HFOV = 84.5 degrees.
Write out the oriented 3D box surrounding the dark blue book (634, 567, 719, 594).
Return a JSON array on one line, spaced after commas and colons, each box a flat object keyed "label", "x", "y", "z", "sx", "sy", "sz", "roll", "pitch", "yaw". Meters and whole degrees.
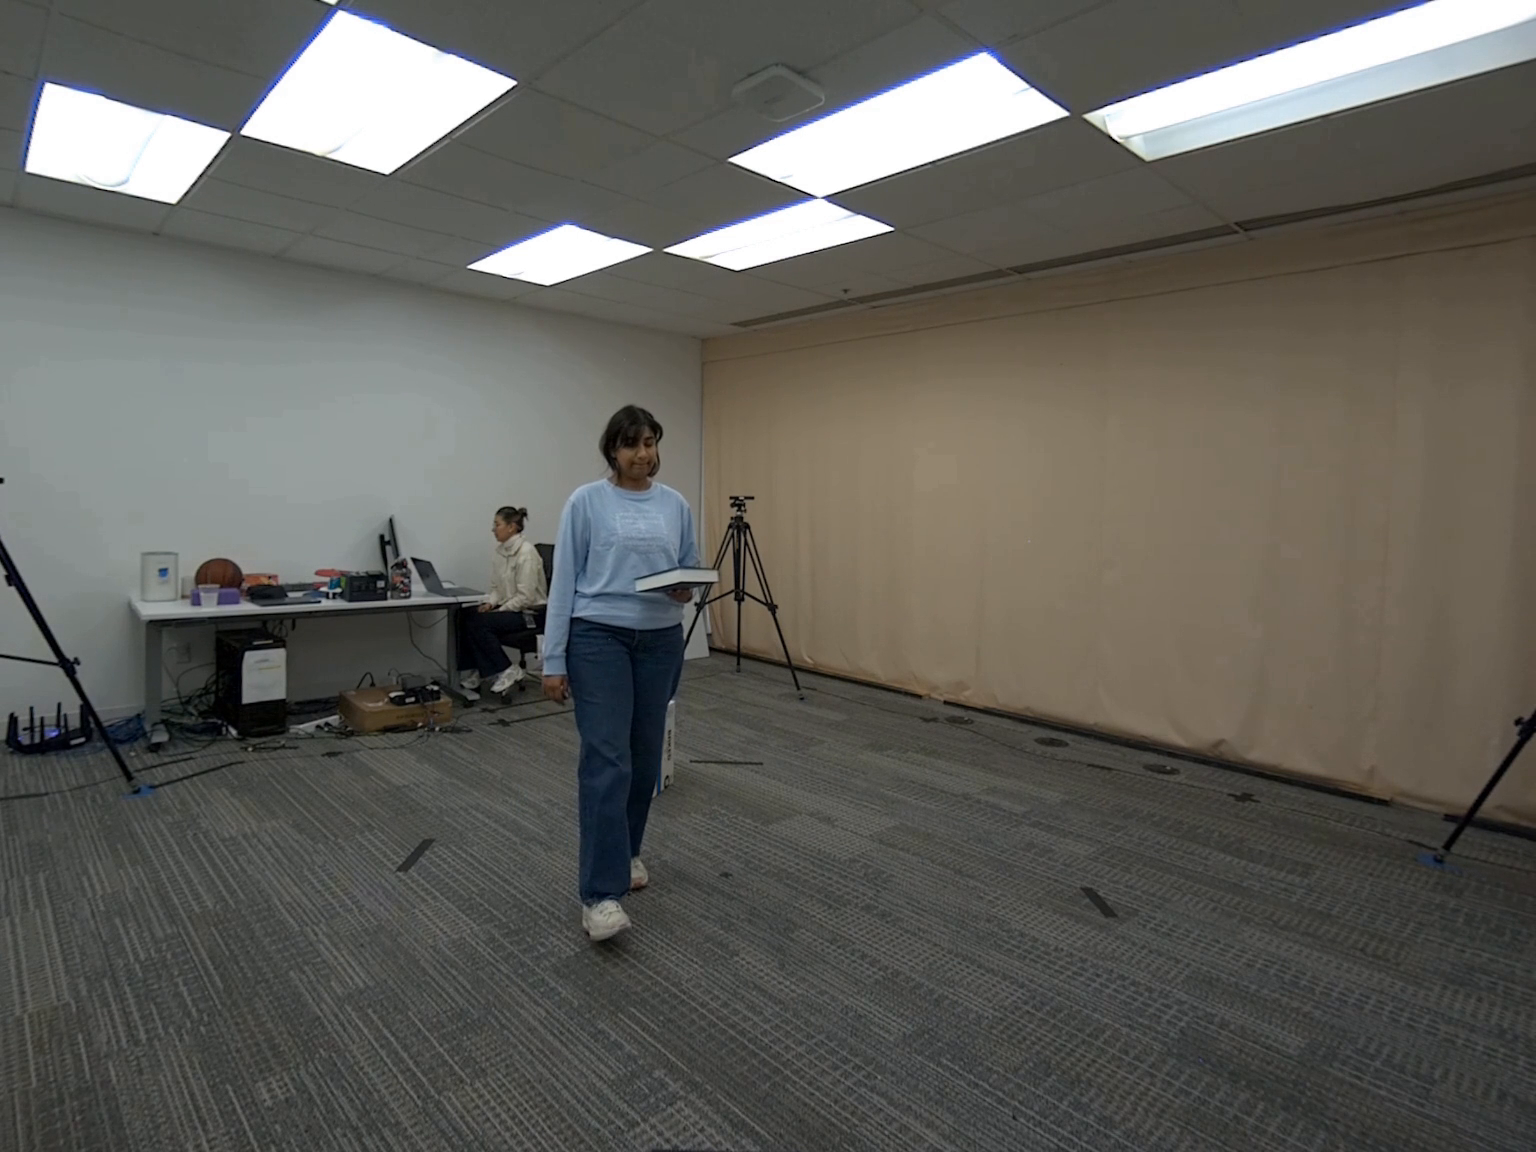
[{"label": "dark blue book", "x": -0.305, "y": 0.014, "z": 2.682, "sx": 0.159, "sy": 0.045, "sz": 0.249, "roll": 2, "pitch": -10, "yaw": -45}]
